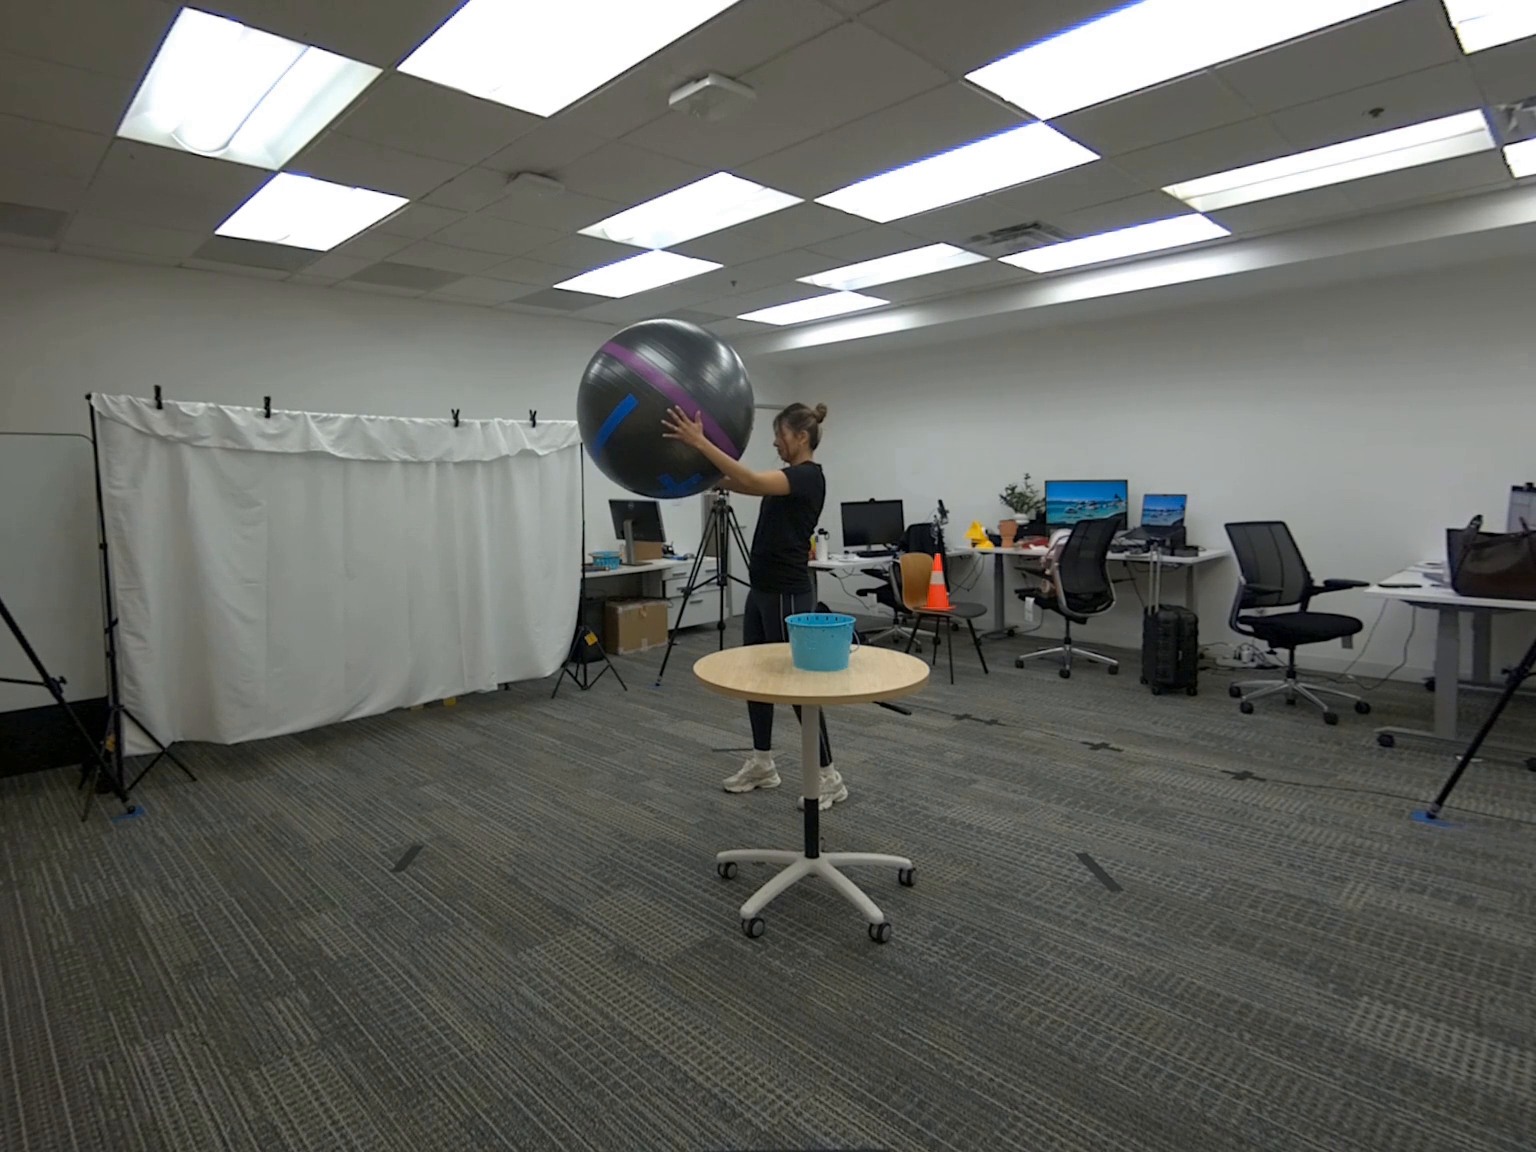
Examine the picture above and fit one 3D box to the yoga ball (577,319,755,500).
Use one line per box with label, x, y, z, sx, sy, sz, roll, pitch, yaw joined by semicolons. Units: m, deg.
yoga ball;-0.437;-0.700;3.653;0.757;0.755;0.762;-1;5;-2
